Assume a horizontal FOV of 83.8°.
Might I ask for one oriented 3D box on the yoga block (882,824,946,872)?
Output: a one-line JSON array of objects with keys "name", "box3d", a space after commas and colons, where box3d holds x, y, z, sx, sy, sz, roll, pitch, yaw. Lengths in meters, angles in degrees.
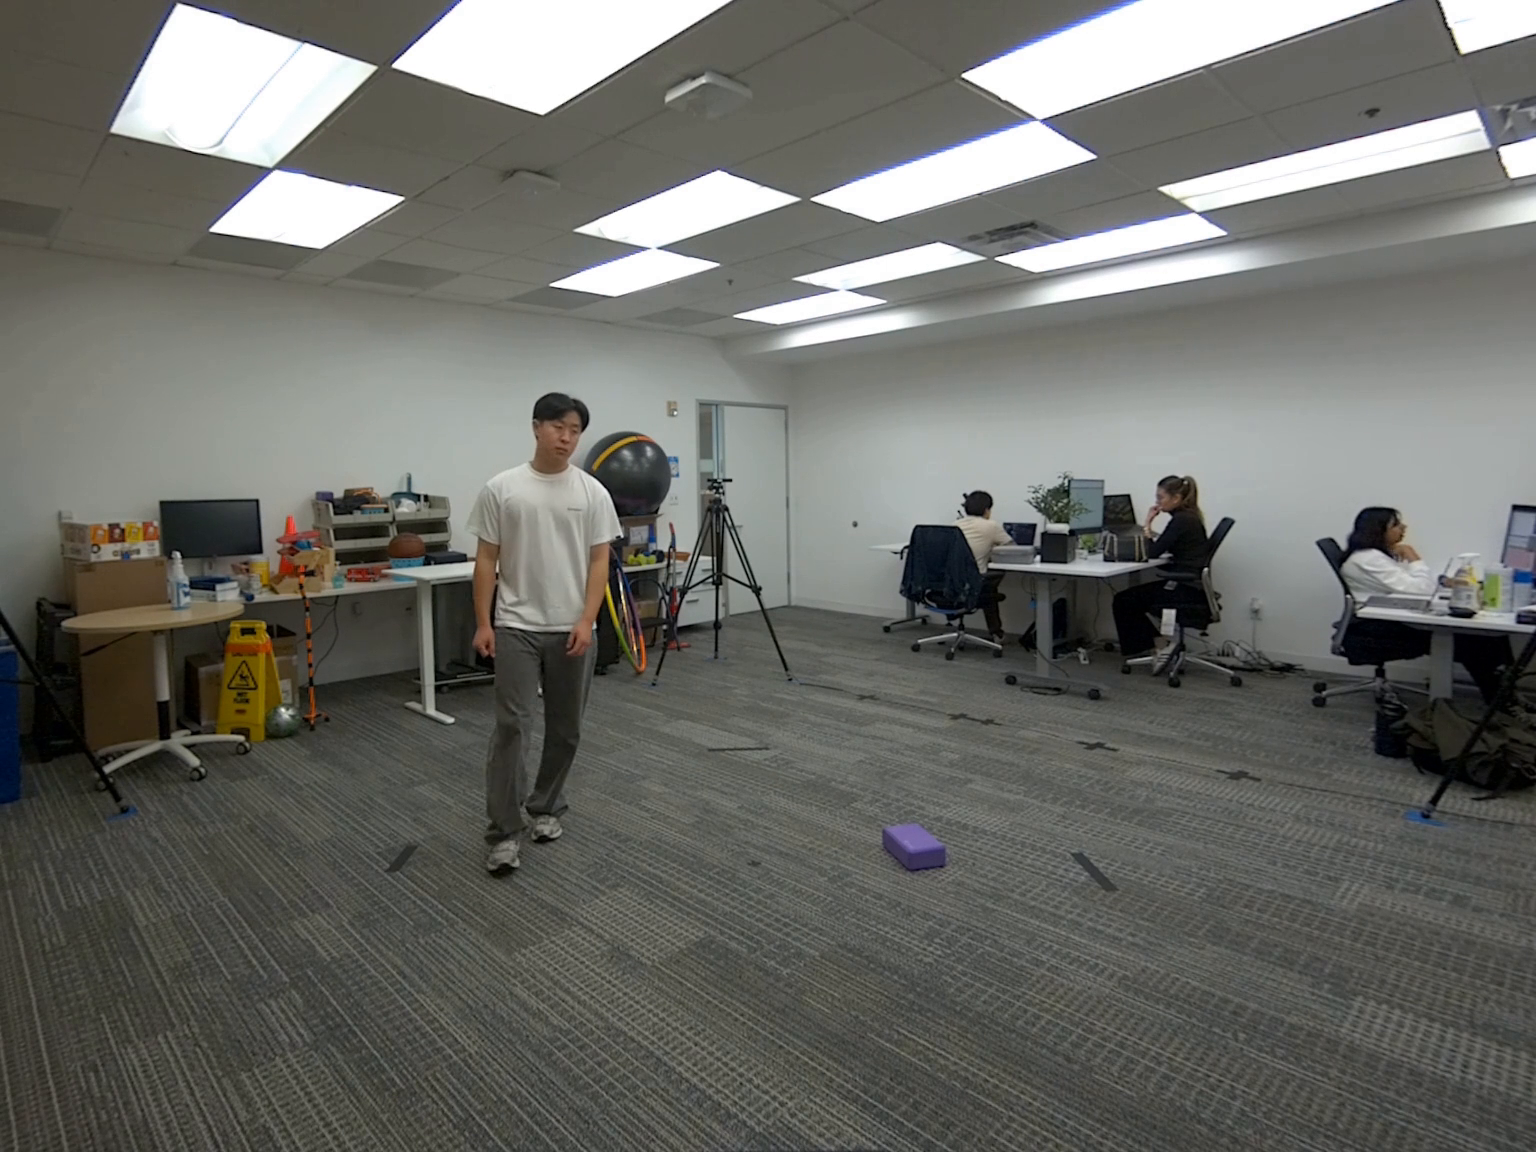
[{"name": "yoga block", "box3d": [0.533, 0.985, 3.133, 0.147, 0.076, 0.233, -3, 6, -16]}]
